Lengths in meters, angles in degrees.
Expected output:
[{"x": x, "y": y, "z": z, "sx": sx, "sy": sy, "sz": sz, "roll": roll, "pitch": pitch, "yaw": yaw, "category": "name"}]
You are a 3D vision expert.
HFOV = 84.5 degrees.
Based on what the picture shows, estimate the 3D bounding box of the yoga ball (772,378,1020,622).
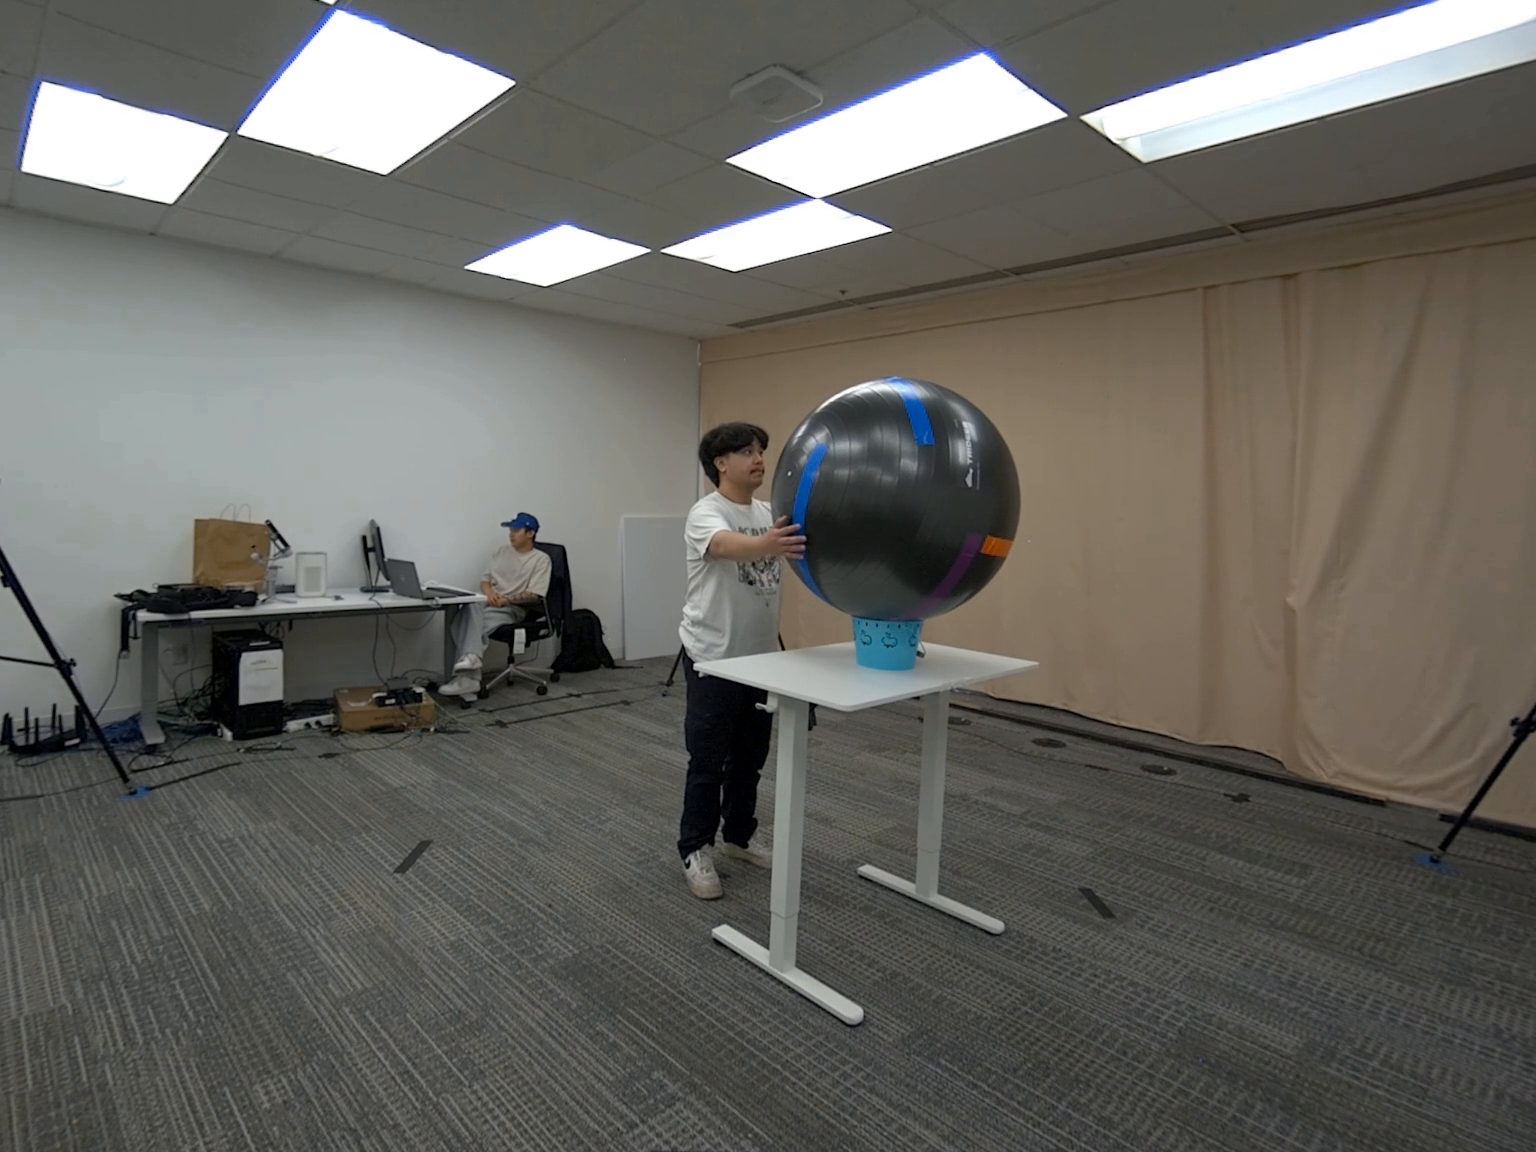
[{"x": 0.387, "y": -0.221, "z": 2.619, "sx": 0.757, "sy": 0.756, "sz": 0.761, "roll": 1, "pitch": 4, "yaw": -1, "category": "yoga ball"}]
